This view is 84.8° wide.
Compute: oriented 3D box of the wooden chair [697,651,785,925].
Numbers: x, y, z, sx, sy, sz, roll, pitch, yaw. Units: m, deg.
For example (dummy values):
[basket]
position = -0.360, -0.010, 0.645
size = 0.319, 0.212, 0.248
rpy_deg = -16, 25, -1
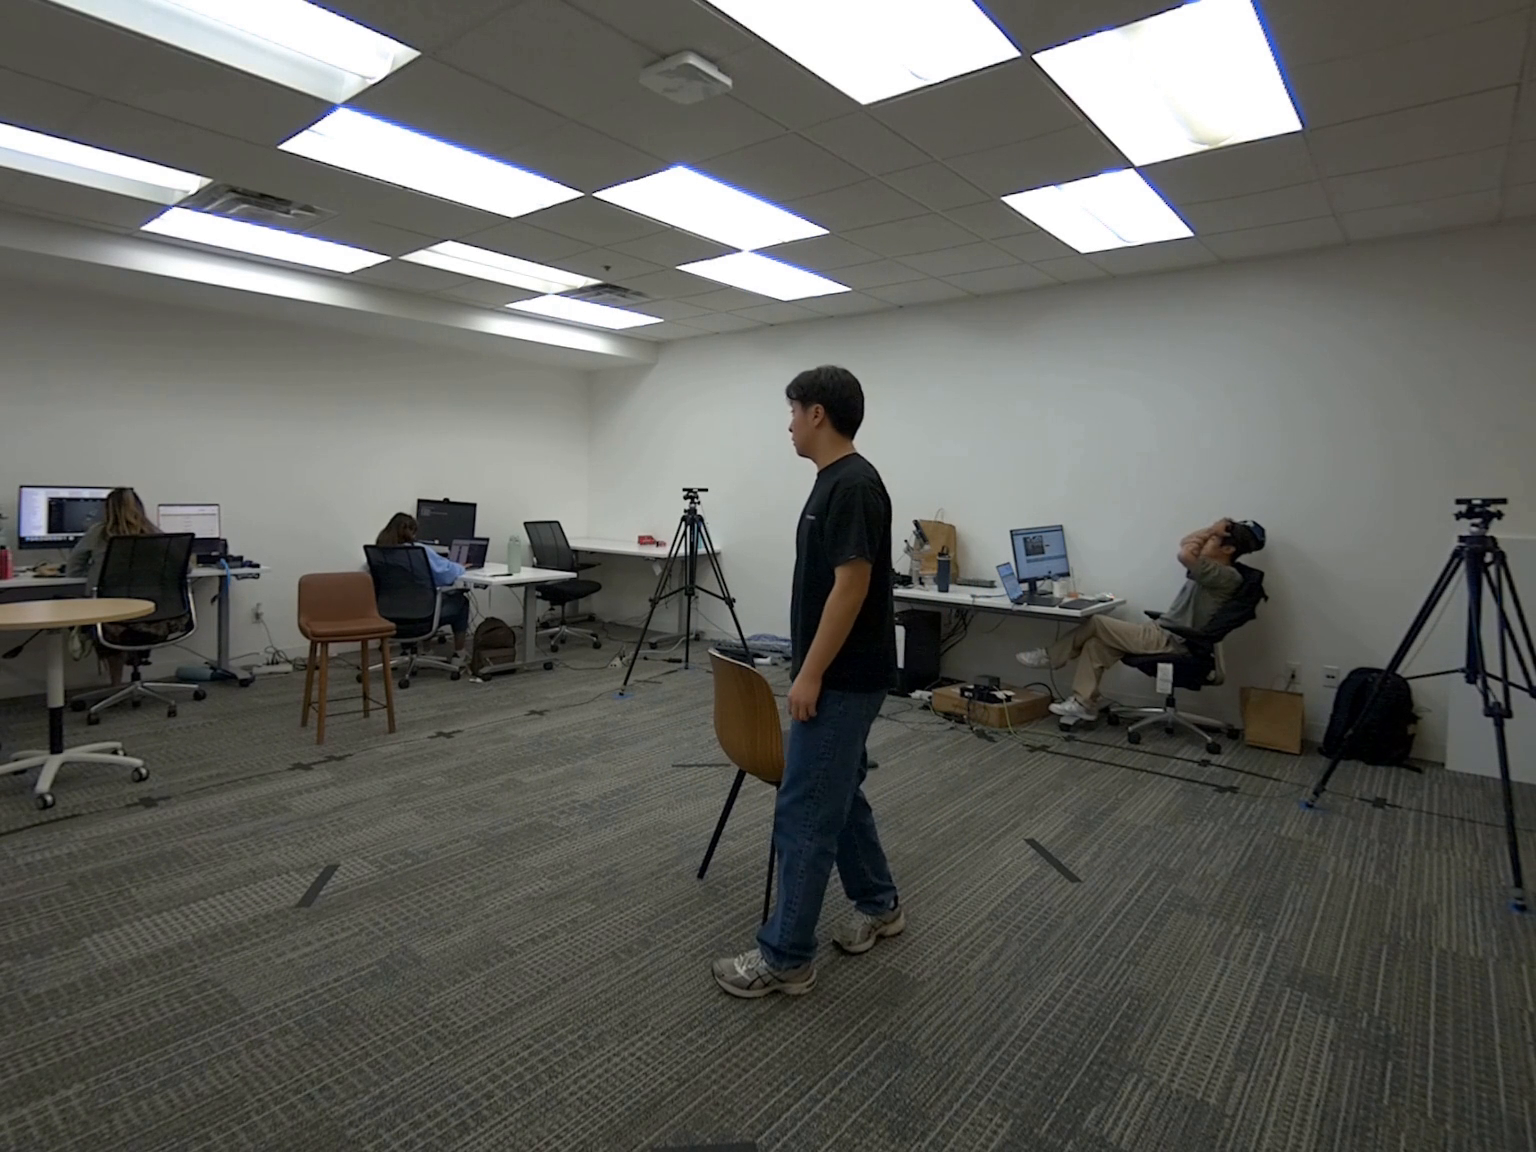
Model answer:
[wooden chair]
position = 0.063, 0.666, 2.931
size = 0.510, 0.873, 0.493
rpy_deg = -5, 6, -30
